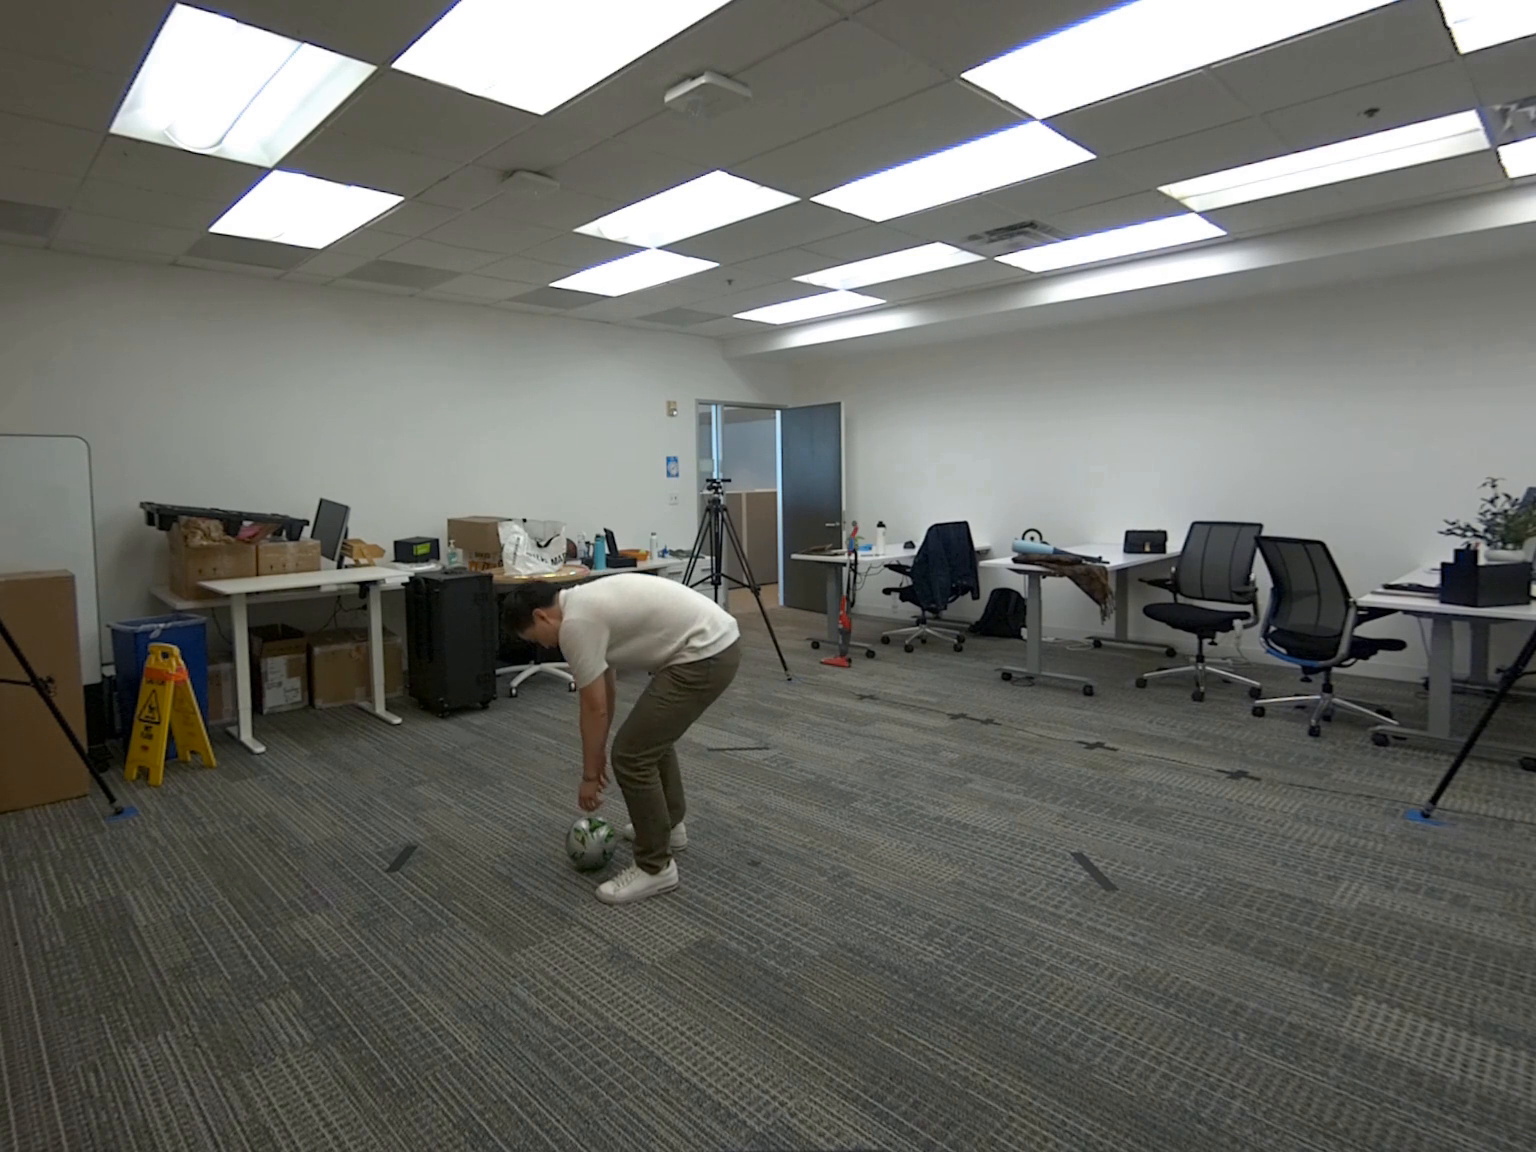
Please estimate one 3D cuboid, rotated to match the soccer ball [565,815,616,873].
[{"bbox_3d":[-0.641,0.965,3.097,0.187,0.187,0.188,-1,5,-2],"label":"soccer ball"}]
